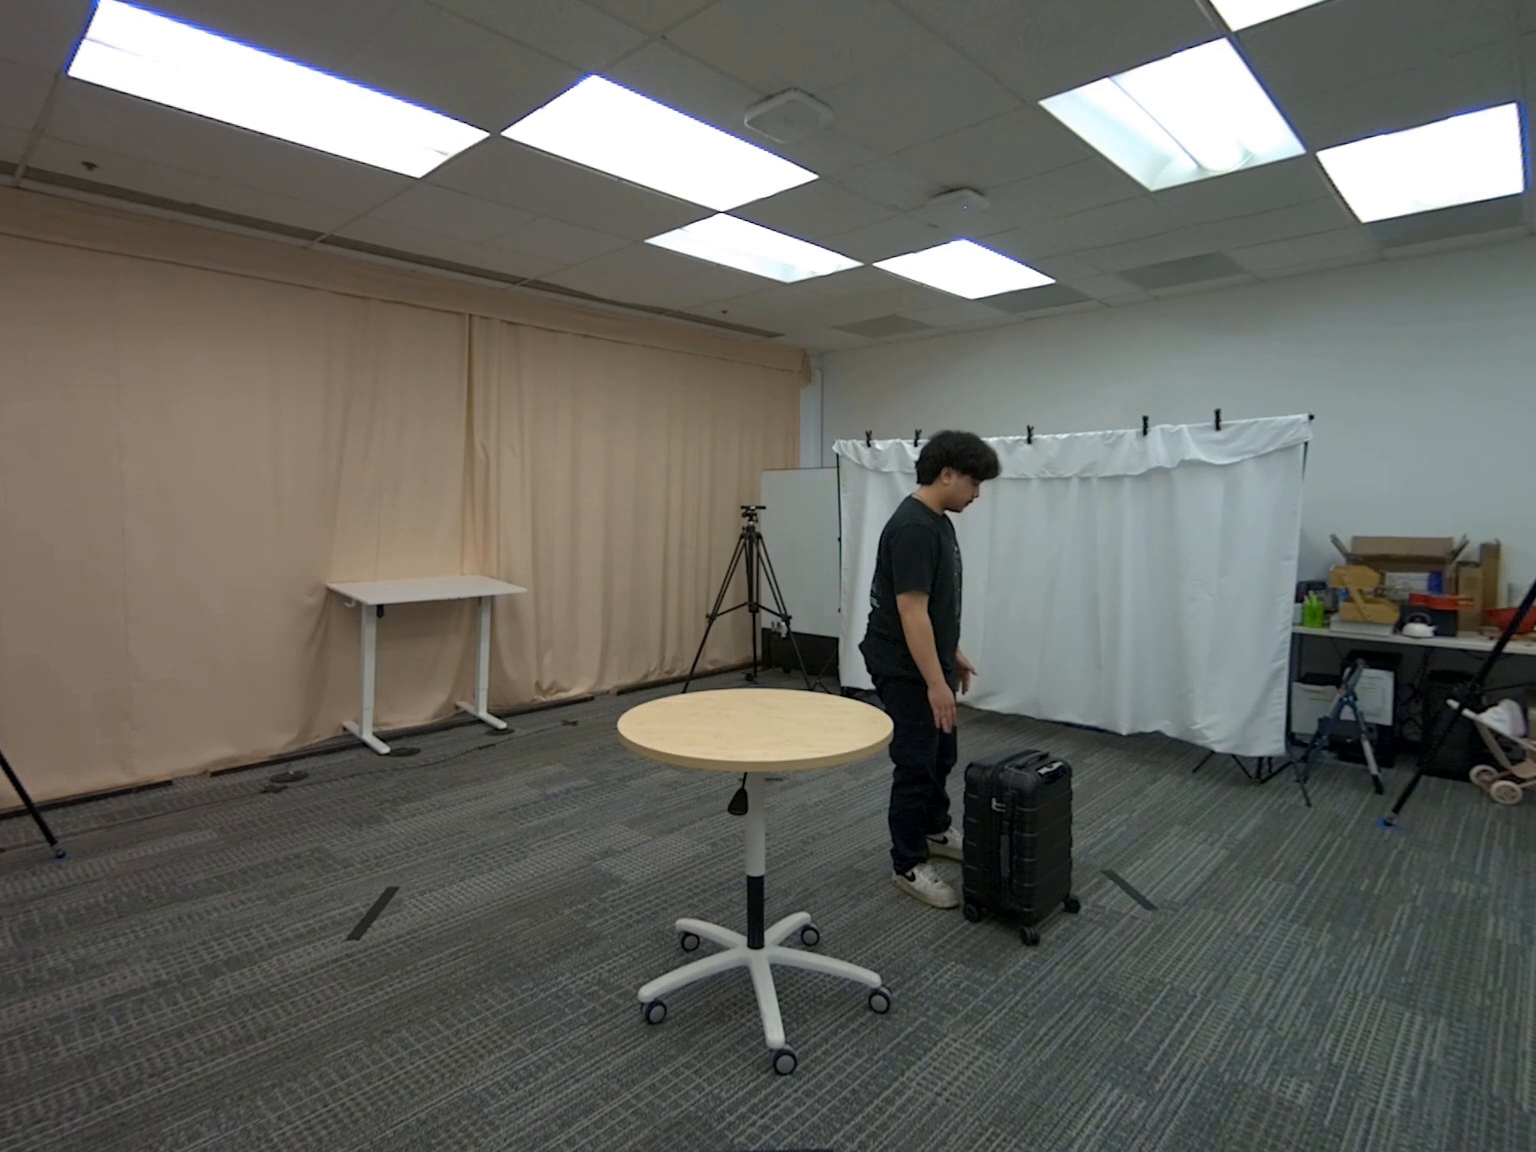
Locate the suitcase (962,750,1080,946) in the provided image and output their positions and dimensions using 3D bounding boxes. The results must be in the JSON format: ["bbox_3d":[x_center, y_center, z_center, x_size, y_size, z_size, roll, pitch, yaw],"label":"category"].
[{"bbox_3d":[0.861,0.878,2.854,0.256,0.548,0.364,2,3,45],"label":"suitcase"}]
